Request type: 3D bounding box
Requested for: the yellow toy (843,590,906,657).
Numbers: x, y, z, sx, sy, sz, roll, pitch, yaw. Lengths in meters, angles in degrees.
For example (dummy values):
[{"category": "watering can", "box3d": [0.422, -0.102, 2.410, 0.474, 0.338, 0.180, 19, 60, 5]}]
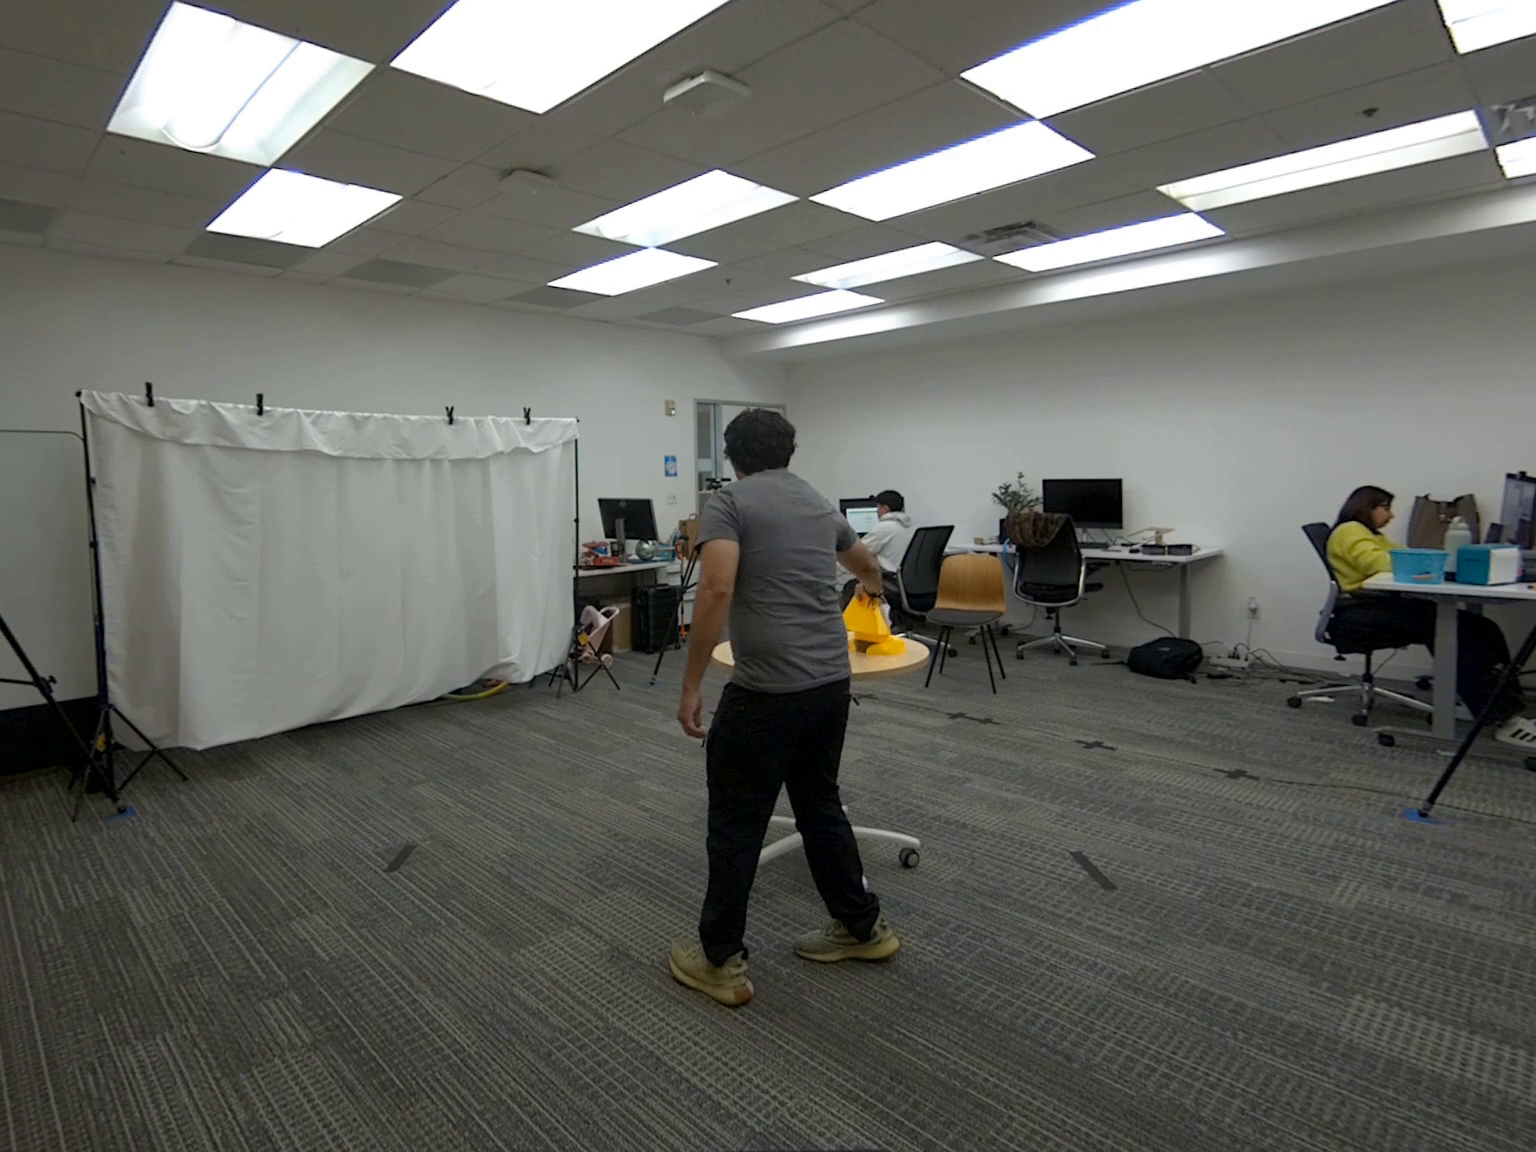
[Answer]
[{"category": "yellow toy", "box3d": [0.374, 0.146, 3.010, 0.188, 0.230, 0.211, -5, 7, -40]}]
